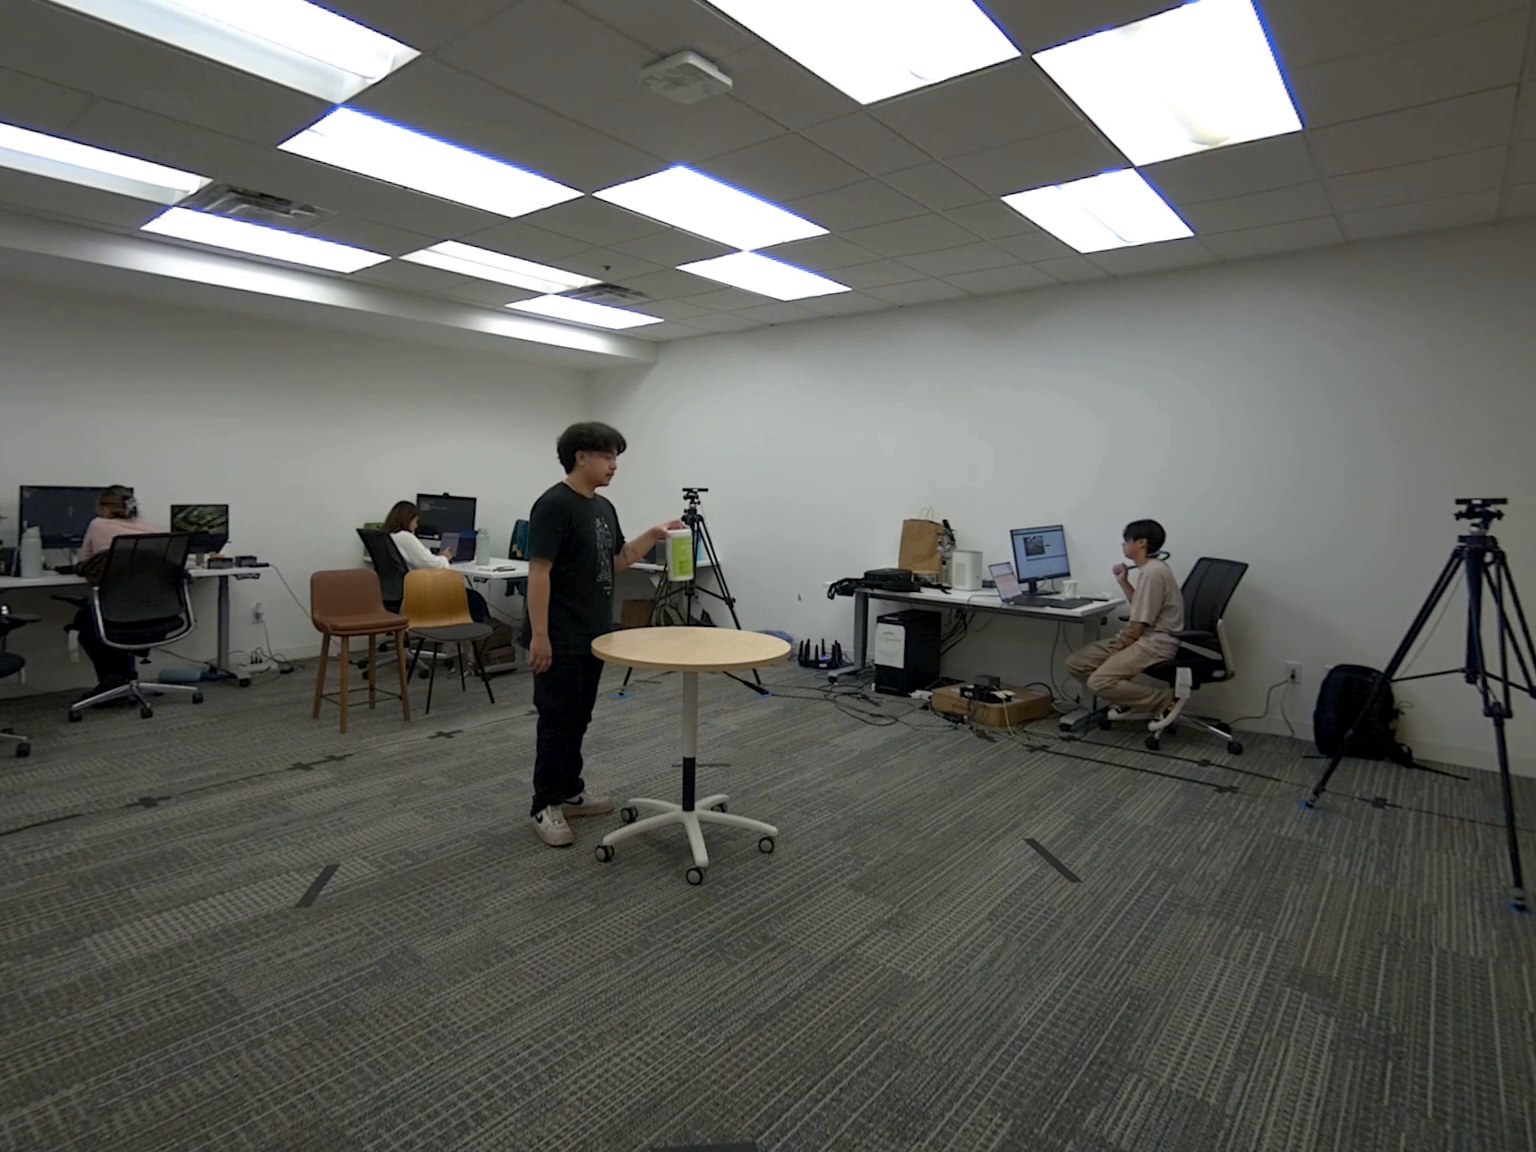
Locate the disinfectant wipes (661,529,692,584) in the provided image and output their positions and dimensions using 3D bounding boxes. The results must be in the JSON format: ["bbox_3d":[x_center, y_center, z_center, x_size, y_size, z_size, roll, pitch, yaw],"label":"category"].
[{"bbox_3d":[-0.395,-0.090,3.631,0.118,0.216,0.118,-2,6,-2],"label":"disinfectant wipes"}]
